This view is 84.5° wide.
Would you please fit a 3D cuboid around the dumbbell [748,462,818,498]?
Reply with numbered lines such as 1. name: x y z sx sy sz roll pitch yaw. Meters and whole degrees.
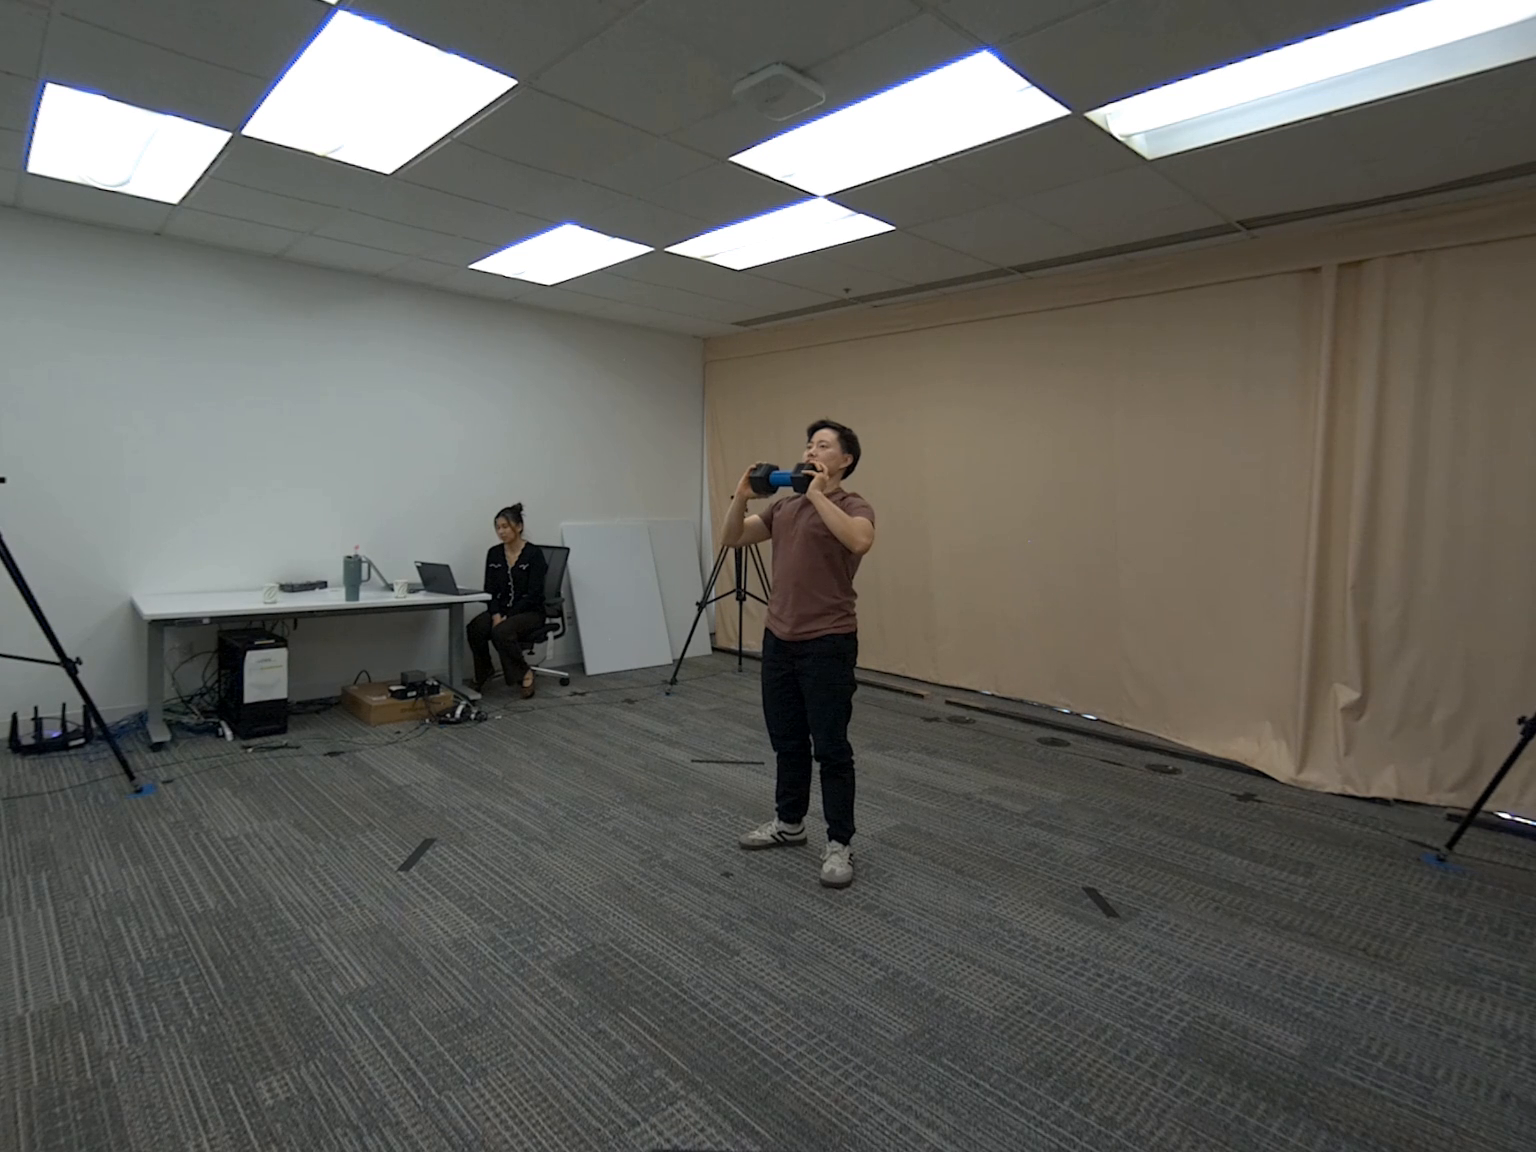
1. dumbbell: 0.058 -0.365 3.079 0.301 0.123 0.105 7 -30 46
